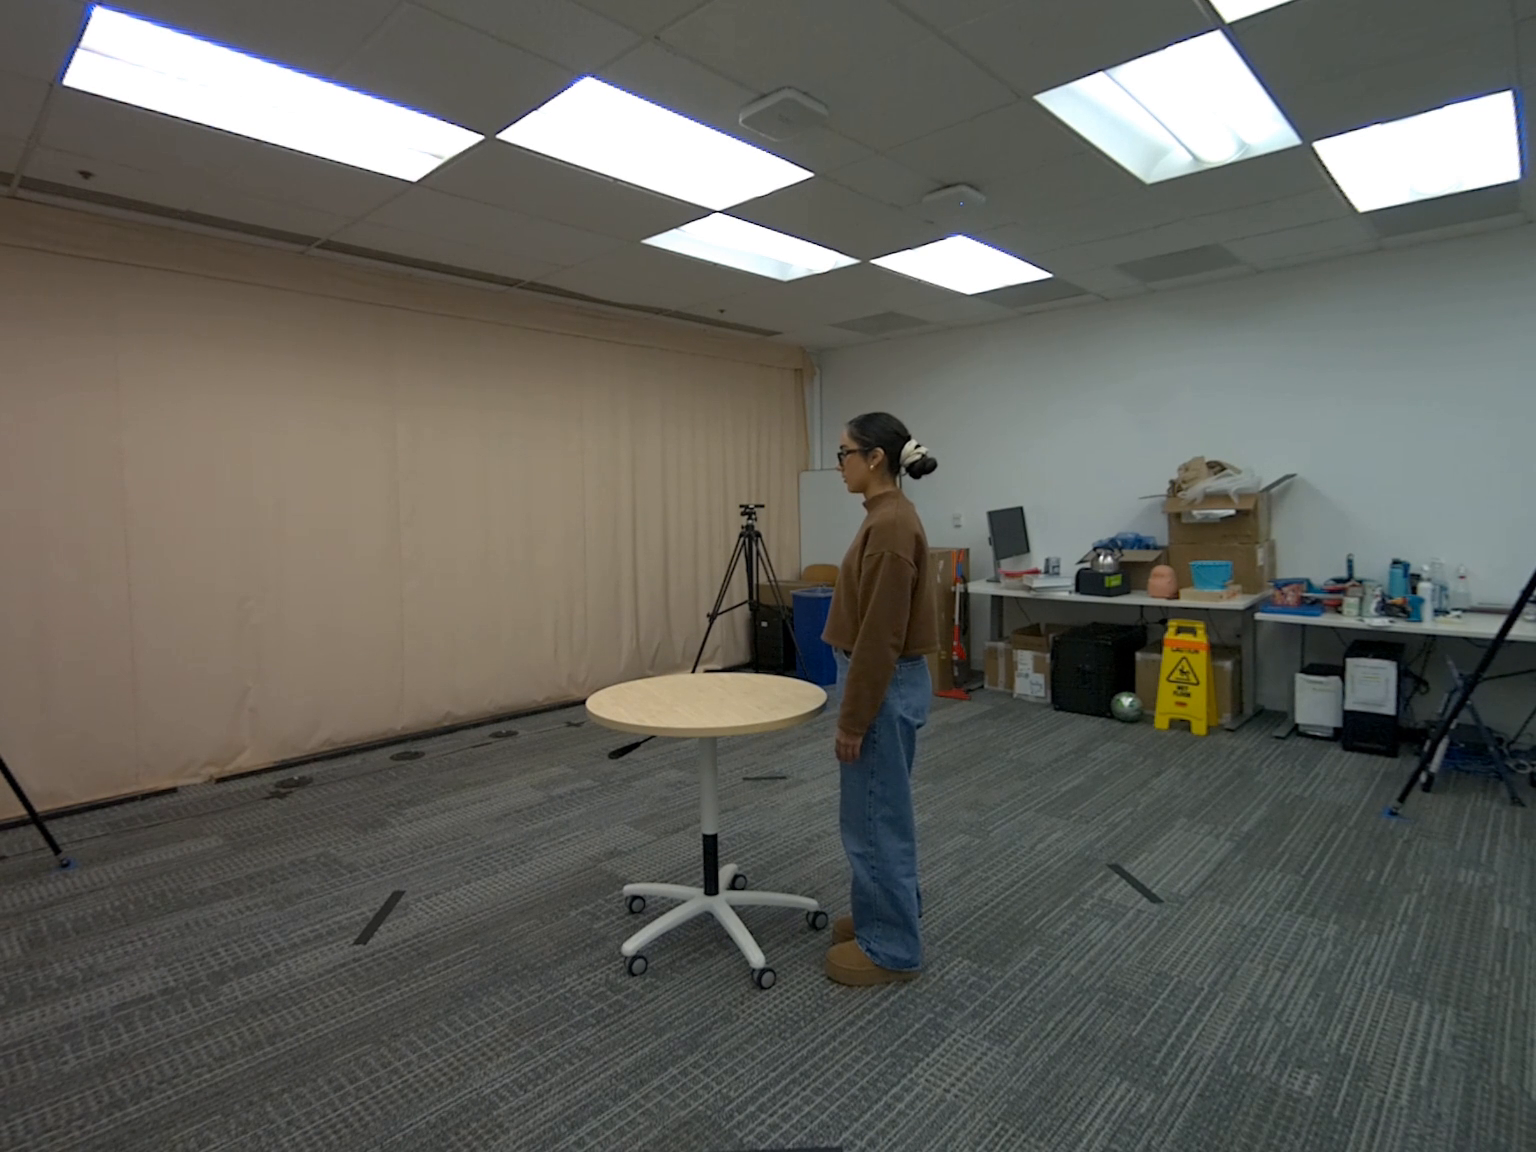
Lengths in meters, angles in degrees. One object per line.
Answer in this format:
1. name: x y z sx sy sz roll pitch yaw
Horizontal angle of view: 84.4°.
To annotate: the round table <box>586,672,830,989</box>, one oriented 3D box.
1. round table: -0.184 0.779 2.710 0.763 0.792 0.766 -1 4 -2
